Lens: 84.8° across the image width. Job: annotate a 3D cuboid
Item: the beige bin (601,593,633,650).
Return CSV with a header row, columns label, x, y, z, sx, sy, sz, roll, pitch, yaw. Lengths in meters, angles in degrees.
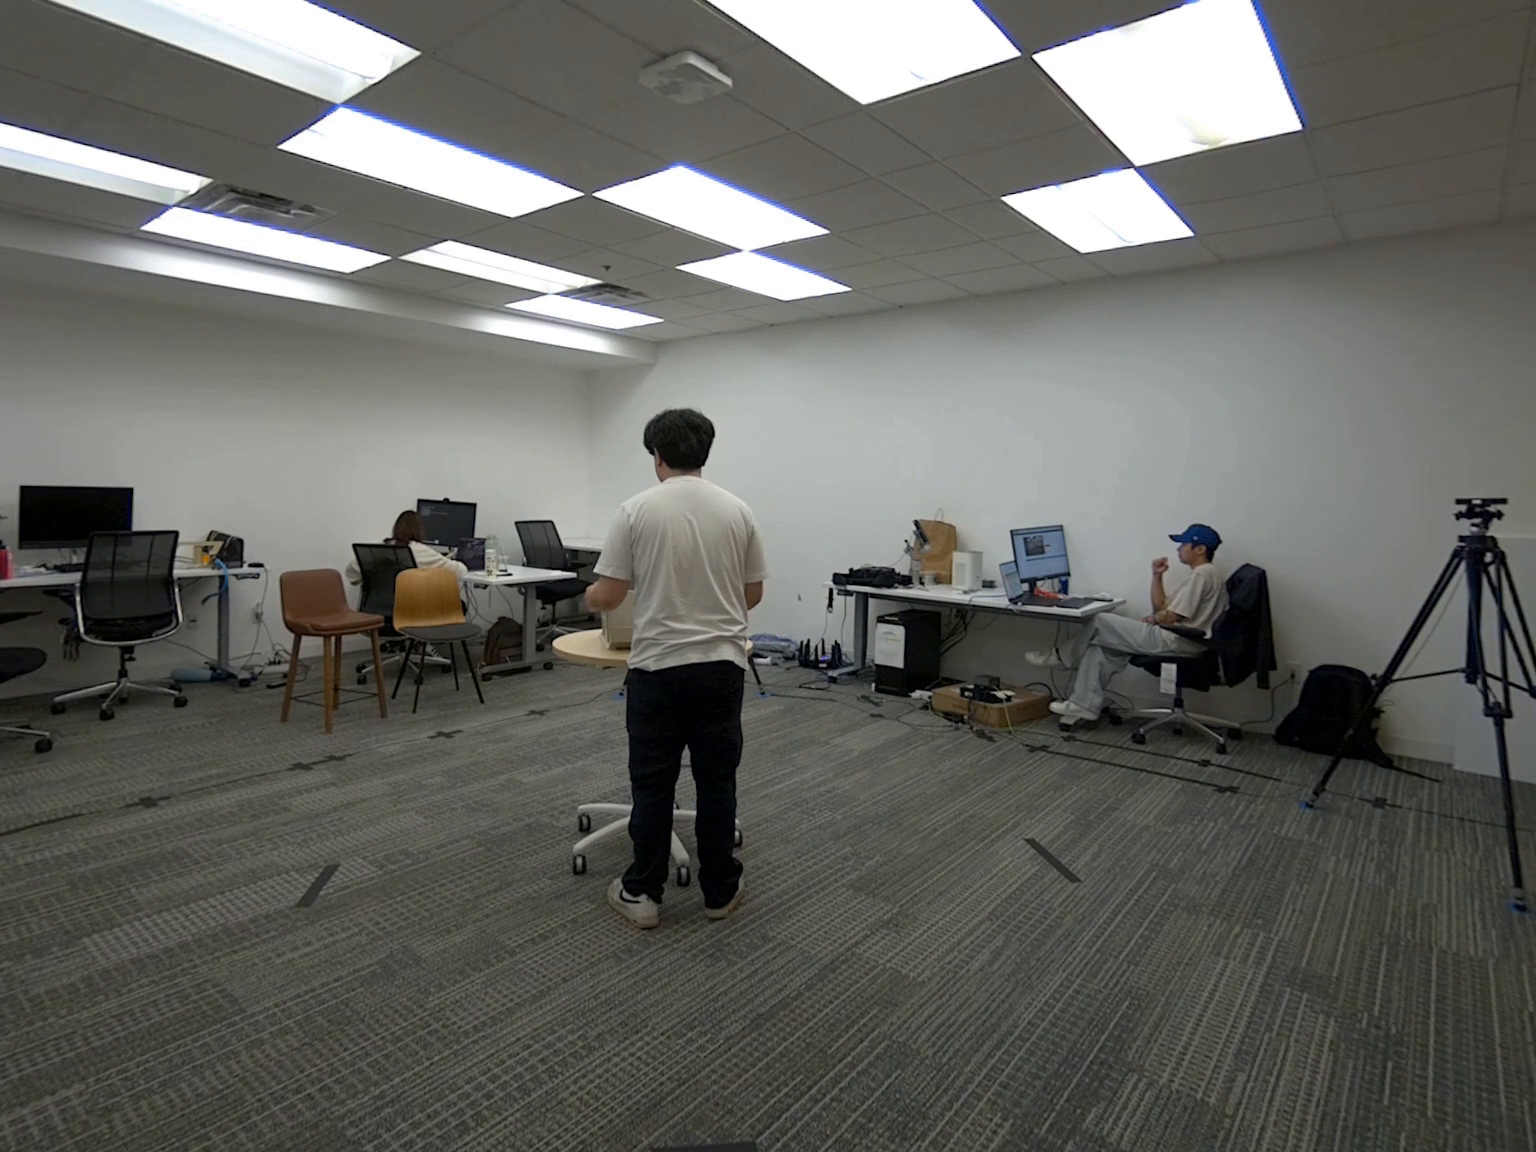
label,x,y,z,sx,sy,sz,roll,pitch,yaw
beige bin,-0.434,0.162,3.272,0.415,0.188,0.385,-1,4,-16
